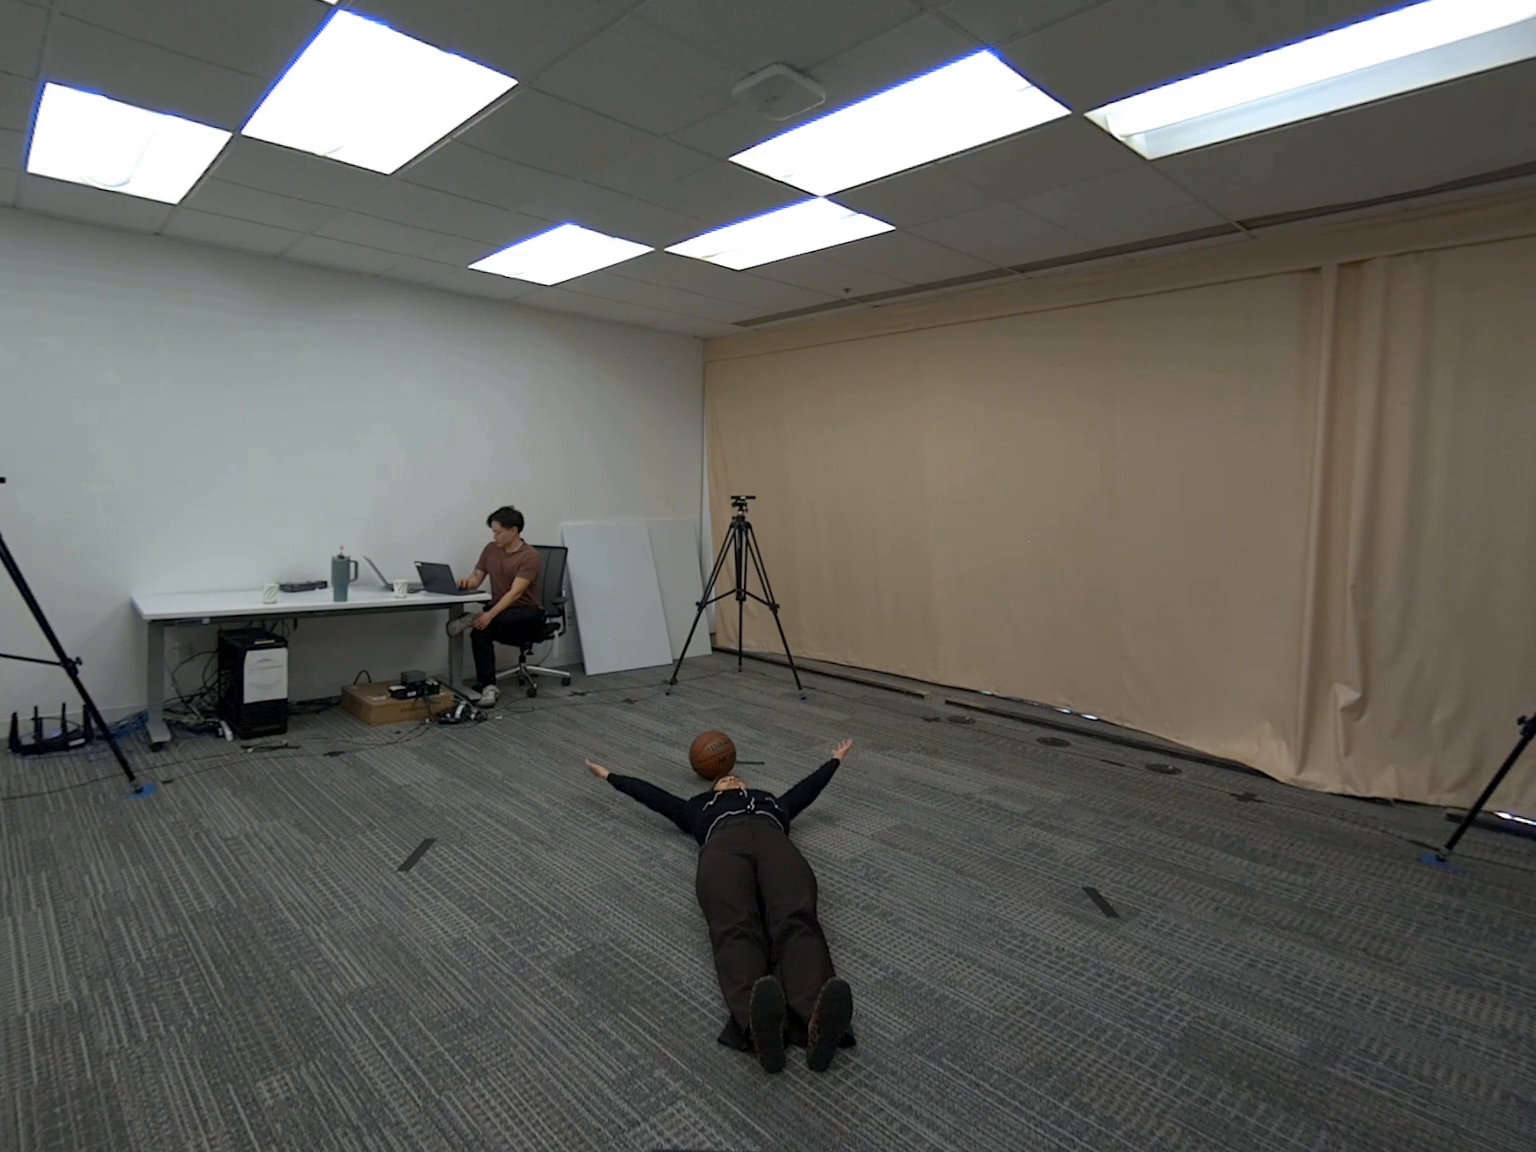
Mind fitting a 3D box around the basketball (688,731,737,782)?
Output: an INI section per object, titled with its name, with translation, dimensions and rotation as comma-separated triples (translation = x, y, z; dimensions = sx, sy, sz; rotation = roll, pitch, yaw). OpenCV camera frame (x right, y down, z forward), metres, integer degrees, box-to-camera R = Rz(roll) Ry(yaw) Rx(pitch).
[basketball]
translation = -0.288, 0.885, 4.179
dimensions = 0.236, 0.235, 0.237
rotation = 1, 4, -1
